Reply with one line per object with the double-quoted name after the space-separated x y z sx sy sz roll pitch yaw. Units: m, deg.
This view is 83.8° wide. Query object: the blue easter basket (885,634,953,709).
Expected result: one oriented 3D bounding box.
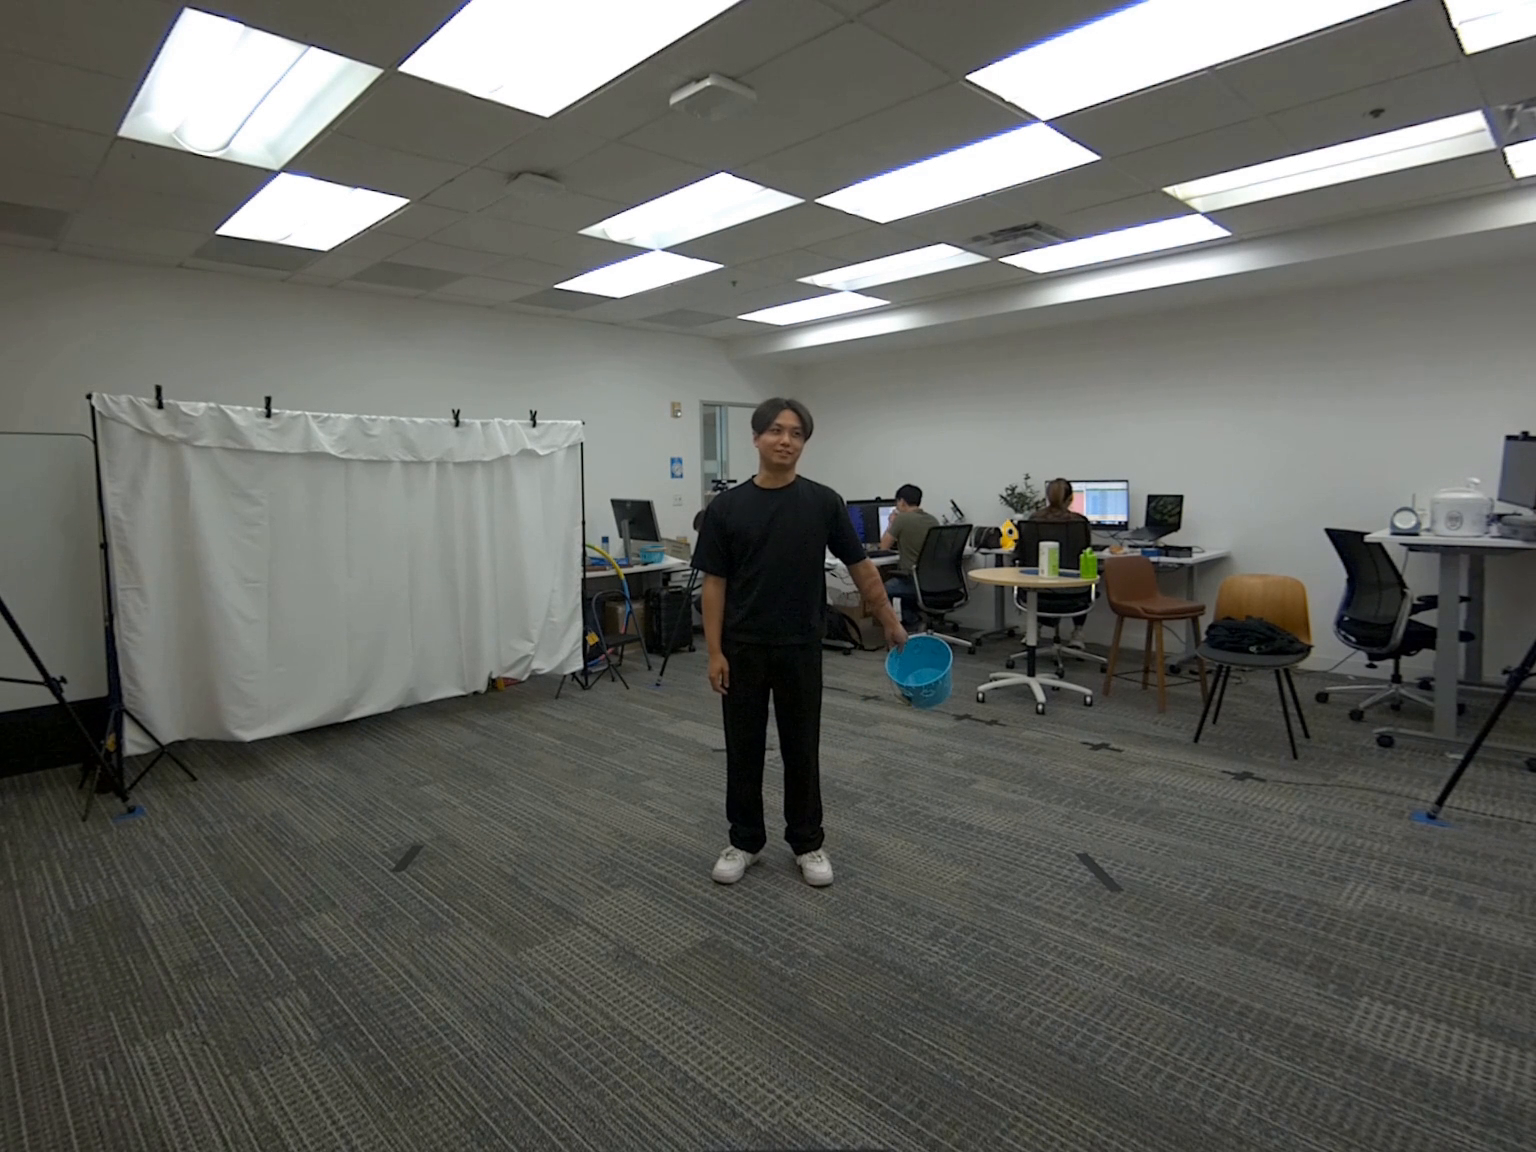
0.525 0.357 3.012 0.245 0.151 0.250 -15 36 10 "blue easter basket"
